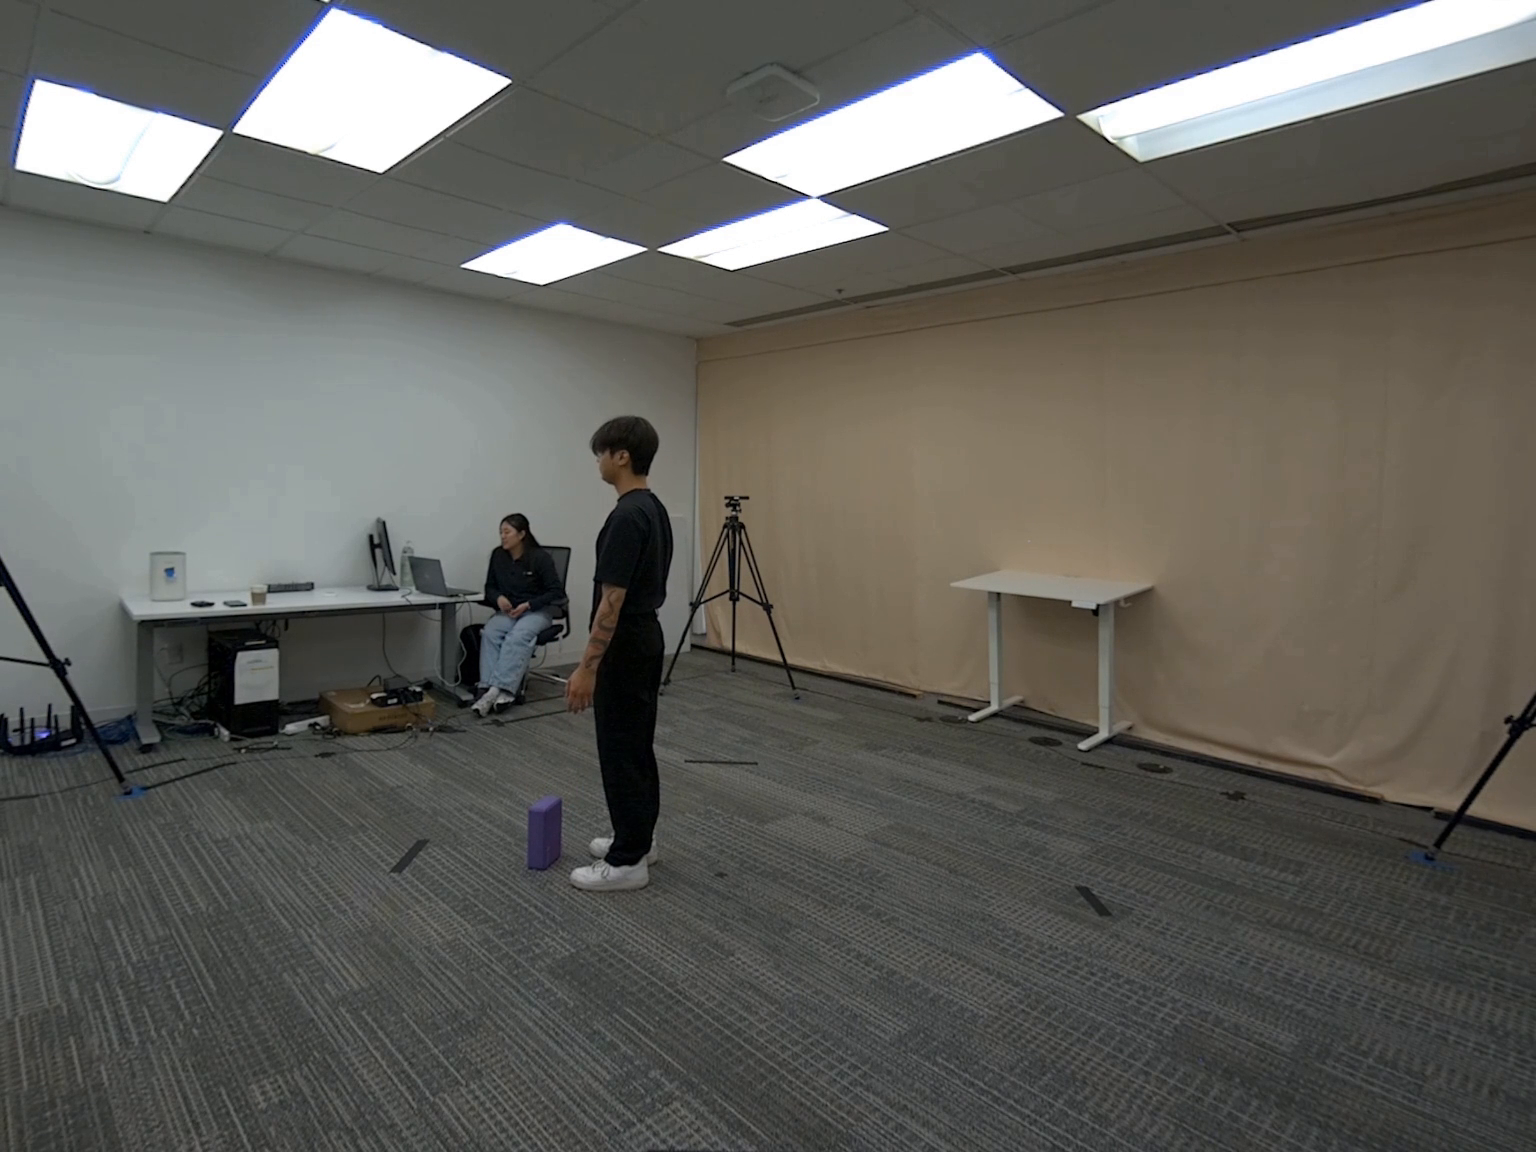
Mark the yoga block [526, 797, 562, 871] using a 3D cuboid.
[{"bbox_3d":[-0.839,0.963,3.173,0.077,0.229,0.148,1,3,10],"label":"yoga block"}]
